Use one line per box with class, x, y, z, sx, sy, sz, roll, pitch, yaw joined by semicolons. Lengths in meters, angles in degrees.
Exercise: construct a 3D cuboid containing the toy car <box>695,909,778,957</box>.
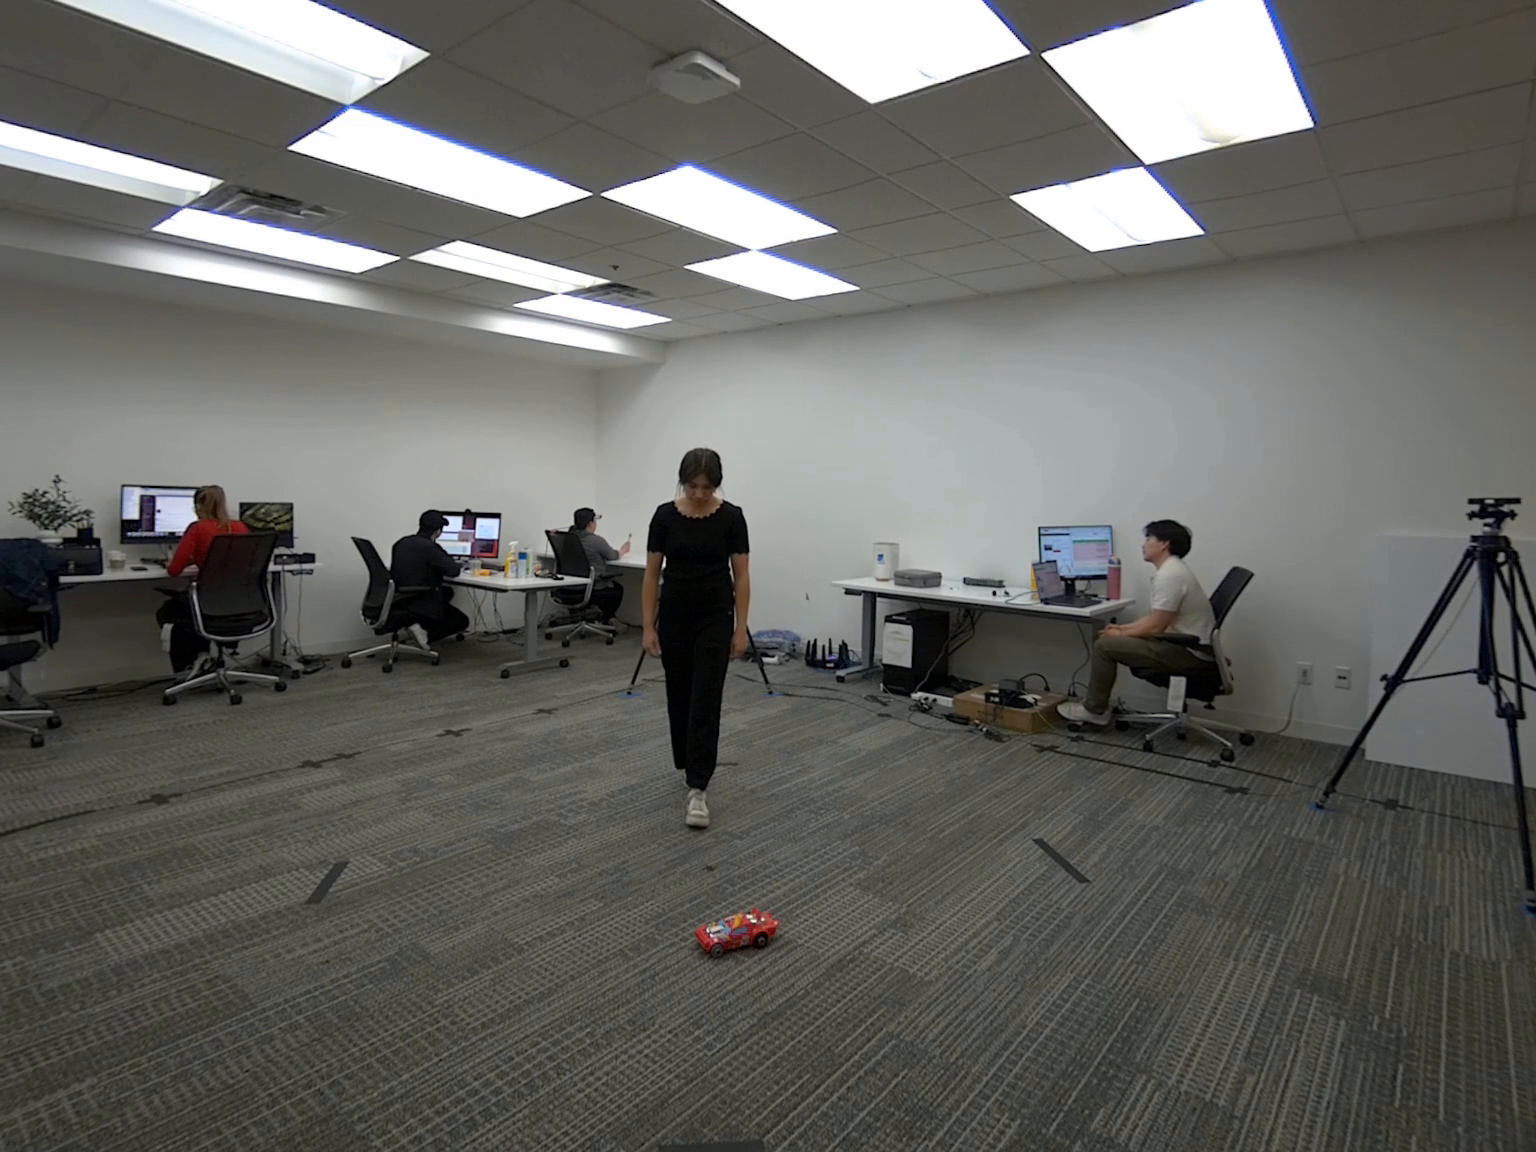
toy car;-0.093;1.086;2.594;0.250;0.082;0.134;-14;12;-23
